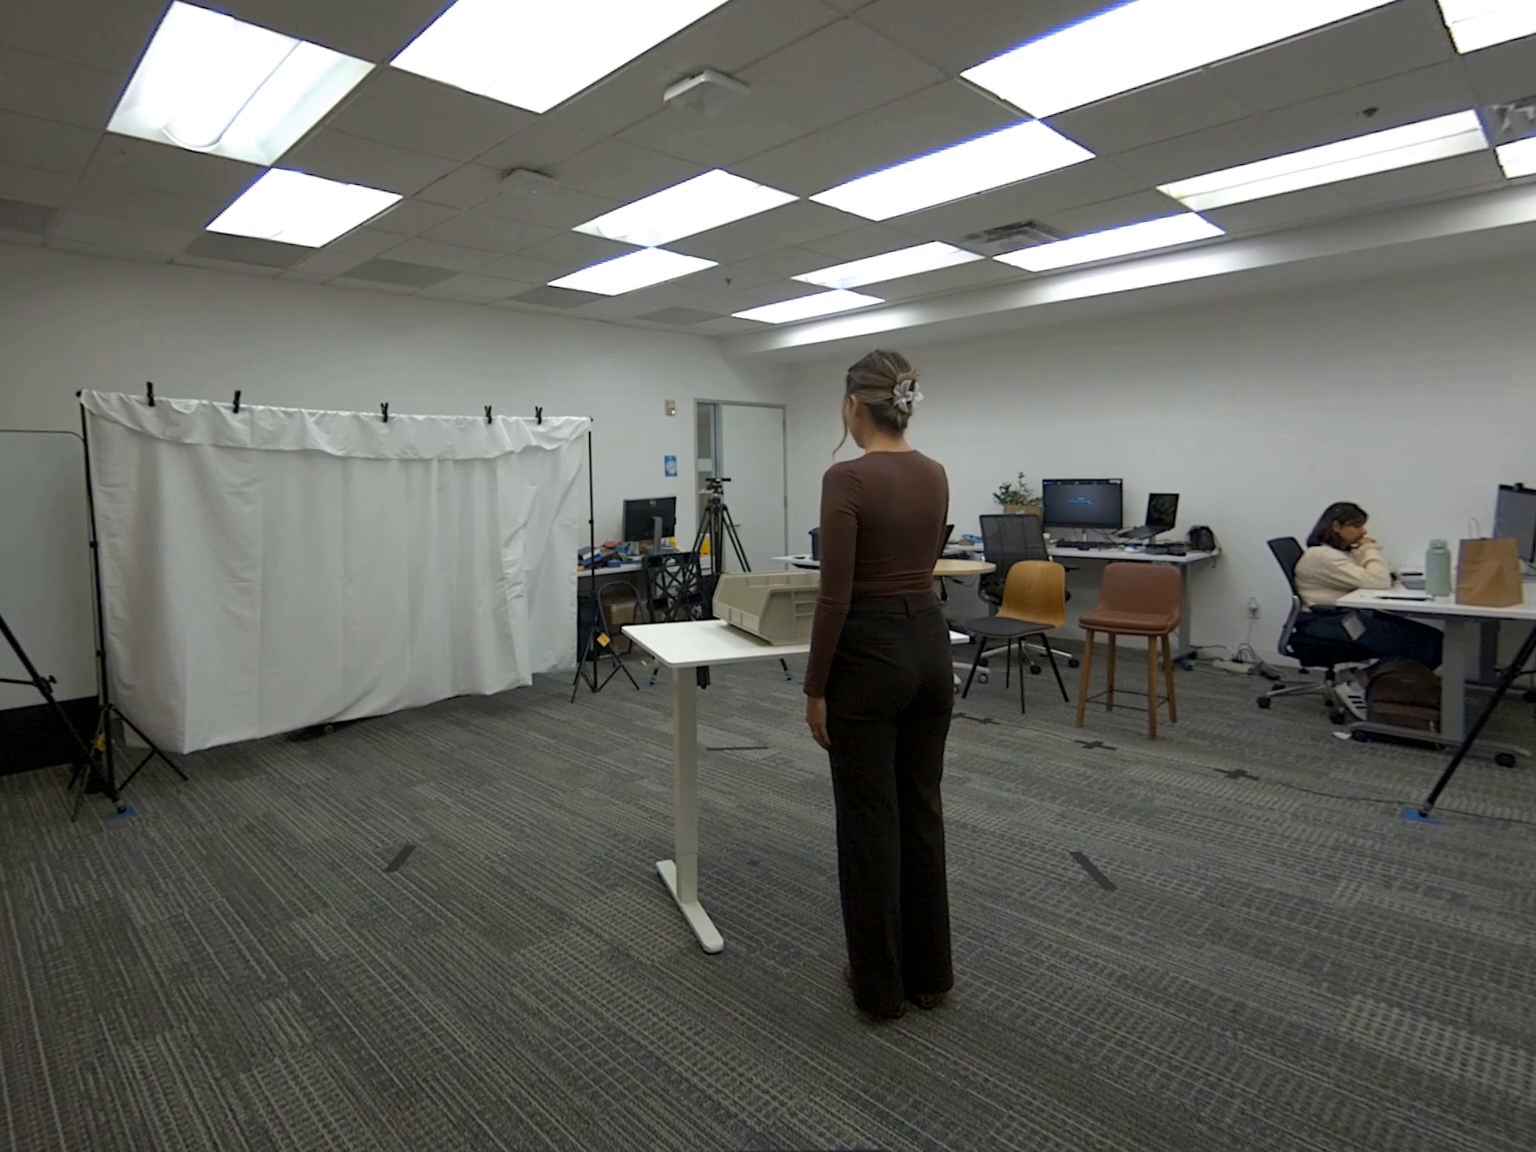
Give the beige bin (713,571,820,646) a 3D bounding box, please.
[{"bbox_3d":[0.061,0.101,2.831,0.370,0.188,0.432,-2,6,-22],"label":"beige bin"}]
